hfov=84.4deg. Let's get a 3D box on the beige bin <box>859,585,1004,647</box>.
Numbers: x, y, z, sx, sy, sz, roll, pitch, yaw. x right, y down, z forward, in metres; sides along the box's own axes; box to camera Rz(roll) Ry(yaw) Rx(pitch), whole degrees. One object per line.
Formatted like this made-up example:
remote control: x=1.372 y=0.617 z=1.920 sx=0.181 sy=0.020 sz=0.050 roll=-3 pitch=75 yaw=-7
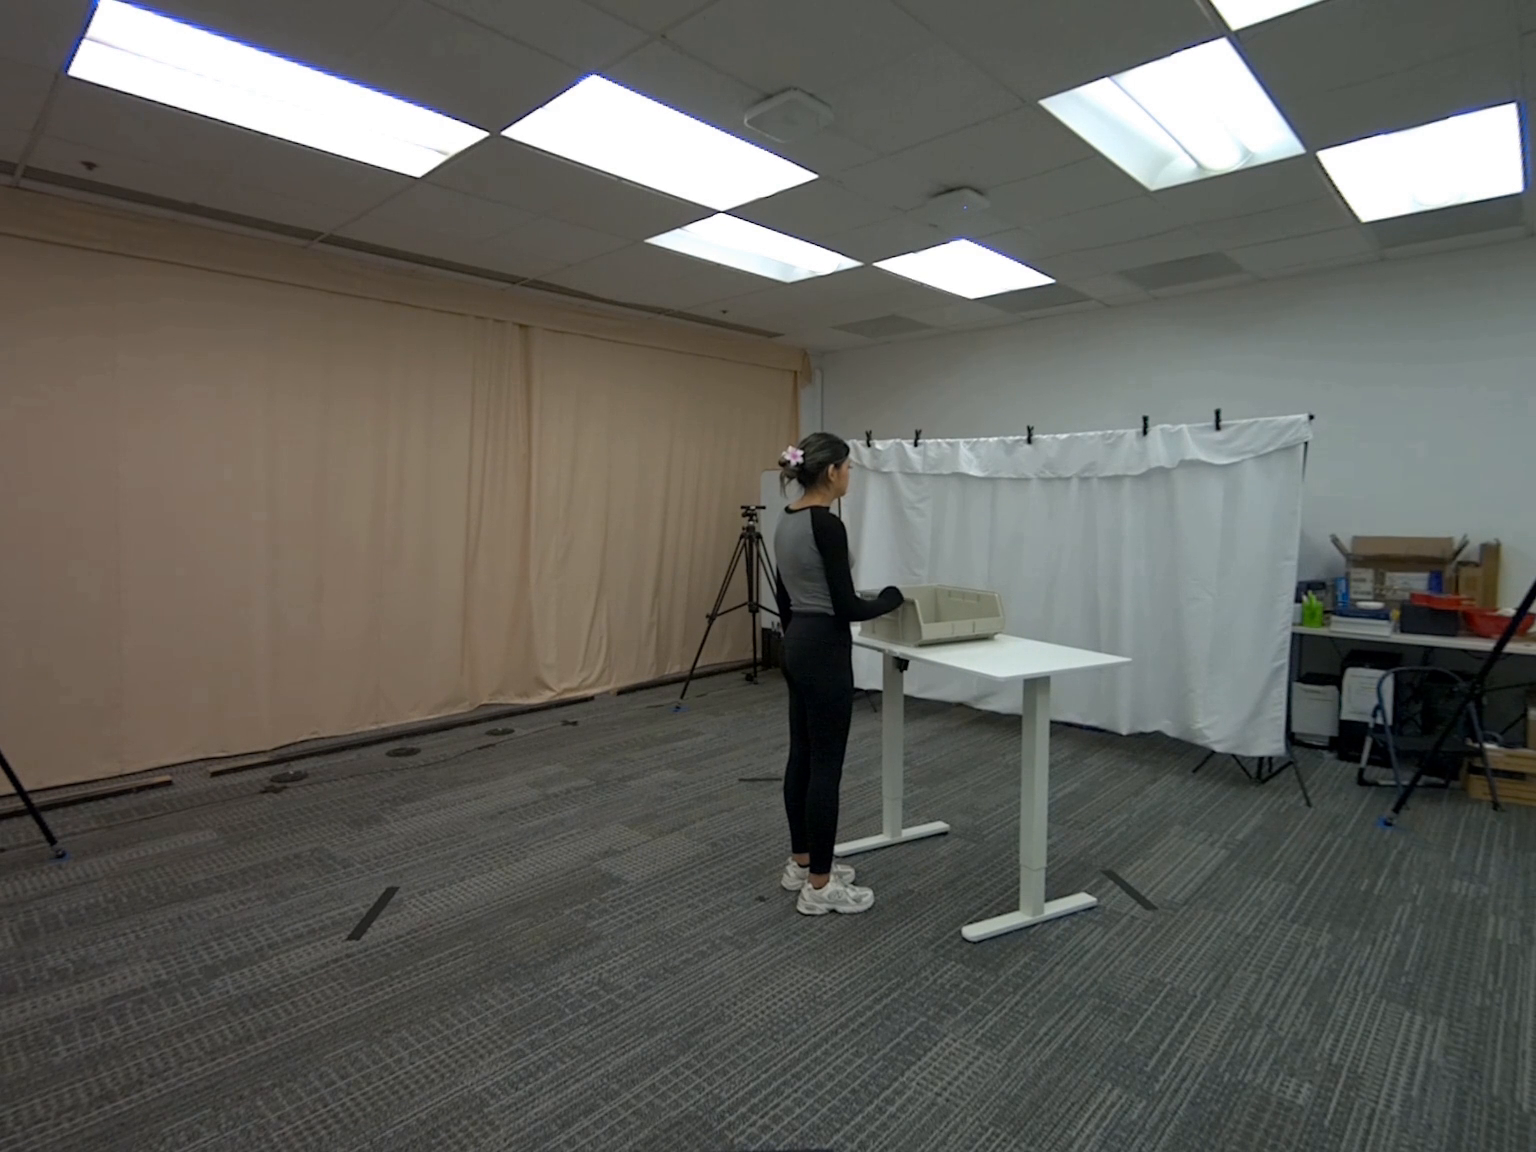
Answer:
beige bin: x=0.624 y=0.152 z=3.223 sx=0.411 sy=0.188 sz=0.388 roll=-3 pitch=5 yaw=-30
